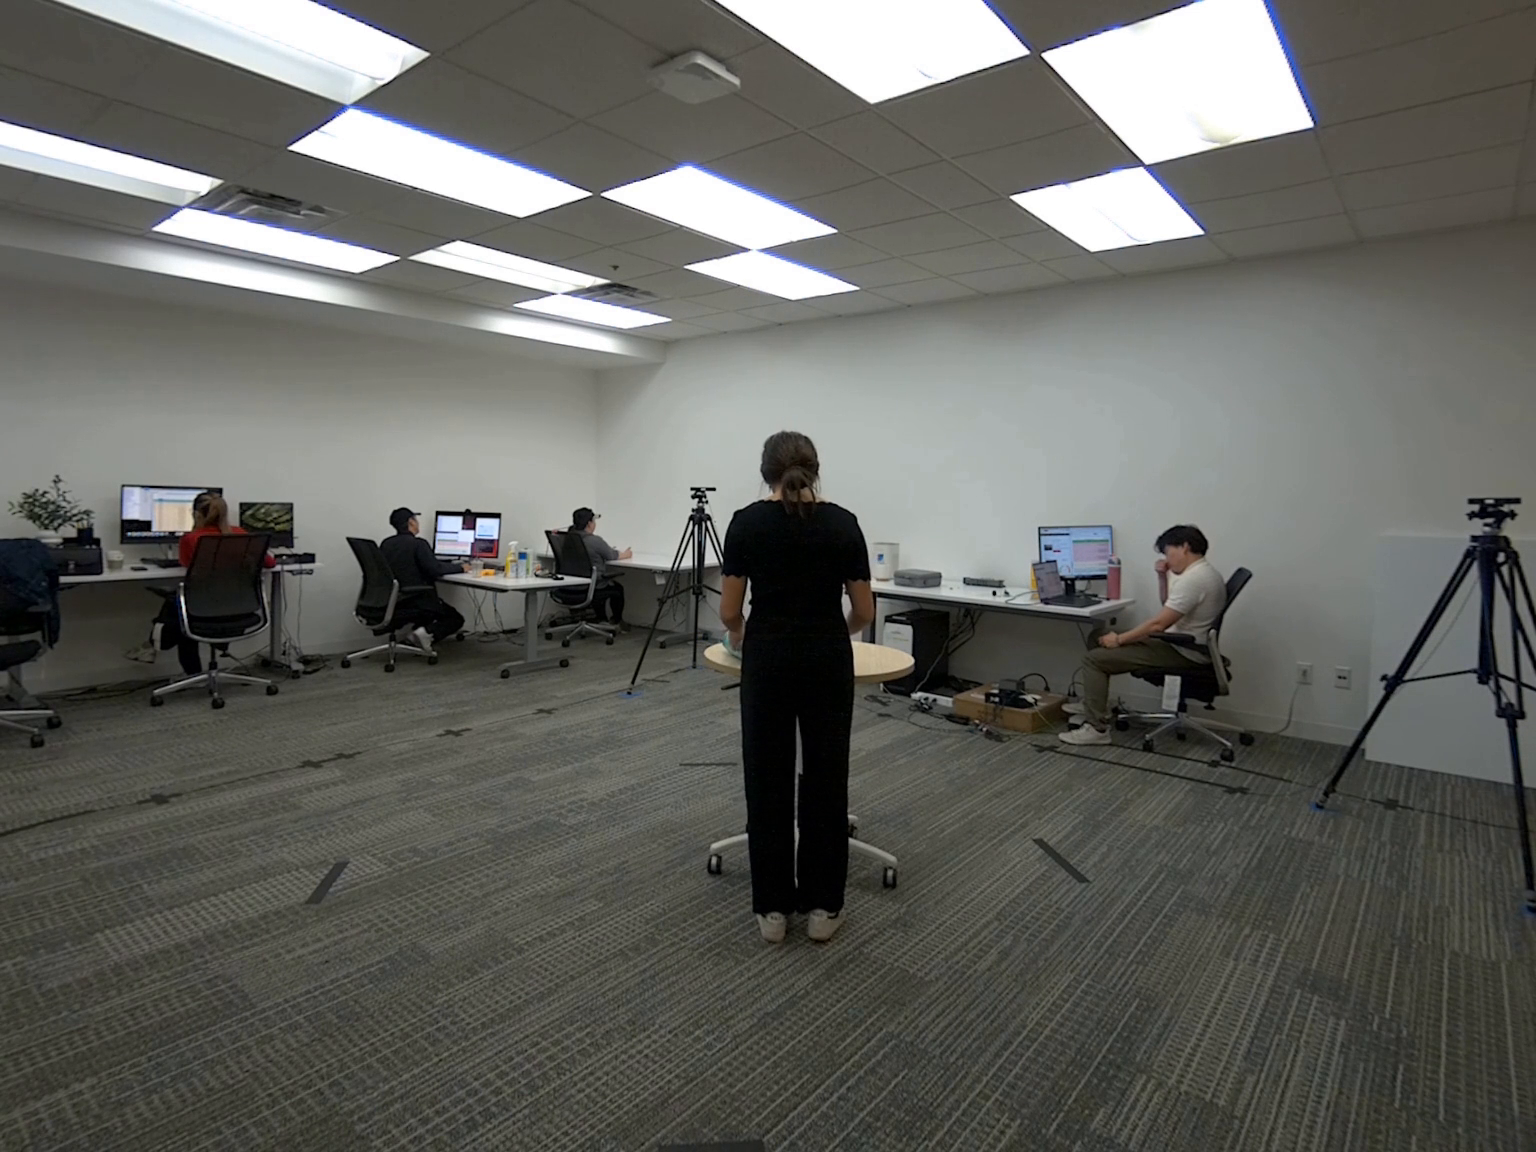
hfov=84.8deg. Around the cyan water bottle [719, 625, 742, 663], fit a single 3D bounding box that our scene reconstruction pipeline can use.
[{"bbox_3d":[-0.086,0.243,3.039,0.090,0.092,0.290,-1,6,-22],"label":"cyan water bottle"}]
